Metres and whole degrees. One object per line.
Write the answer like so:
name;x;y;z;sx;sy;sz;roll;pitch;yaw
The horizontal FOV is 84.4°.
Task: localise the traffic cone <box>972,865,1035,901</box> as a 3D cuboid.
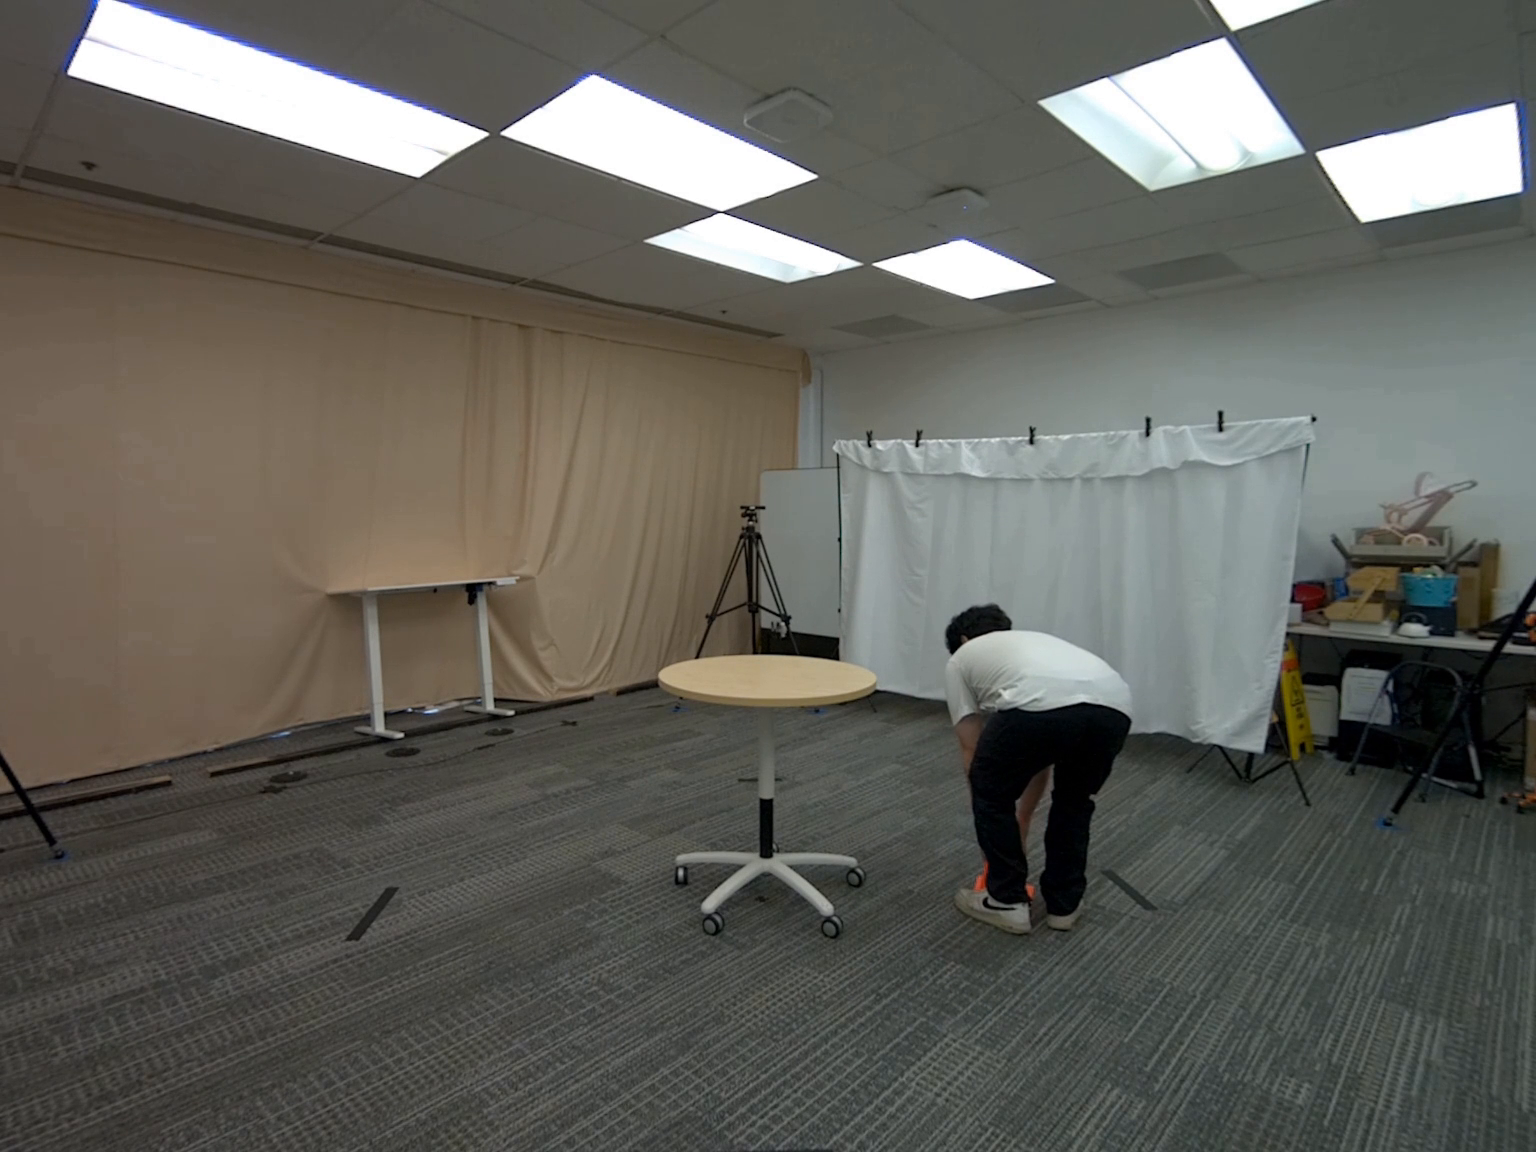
traffic cone;0.870;0.956;3.010;0.211;0.383;0.197;5;5;32
